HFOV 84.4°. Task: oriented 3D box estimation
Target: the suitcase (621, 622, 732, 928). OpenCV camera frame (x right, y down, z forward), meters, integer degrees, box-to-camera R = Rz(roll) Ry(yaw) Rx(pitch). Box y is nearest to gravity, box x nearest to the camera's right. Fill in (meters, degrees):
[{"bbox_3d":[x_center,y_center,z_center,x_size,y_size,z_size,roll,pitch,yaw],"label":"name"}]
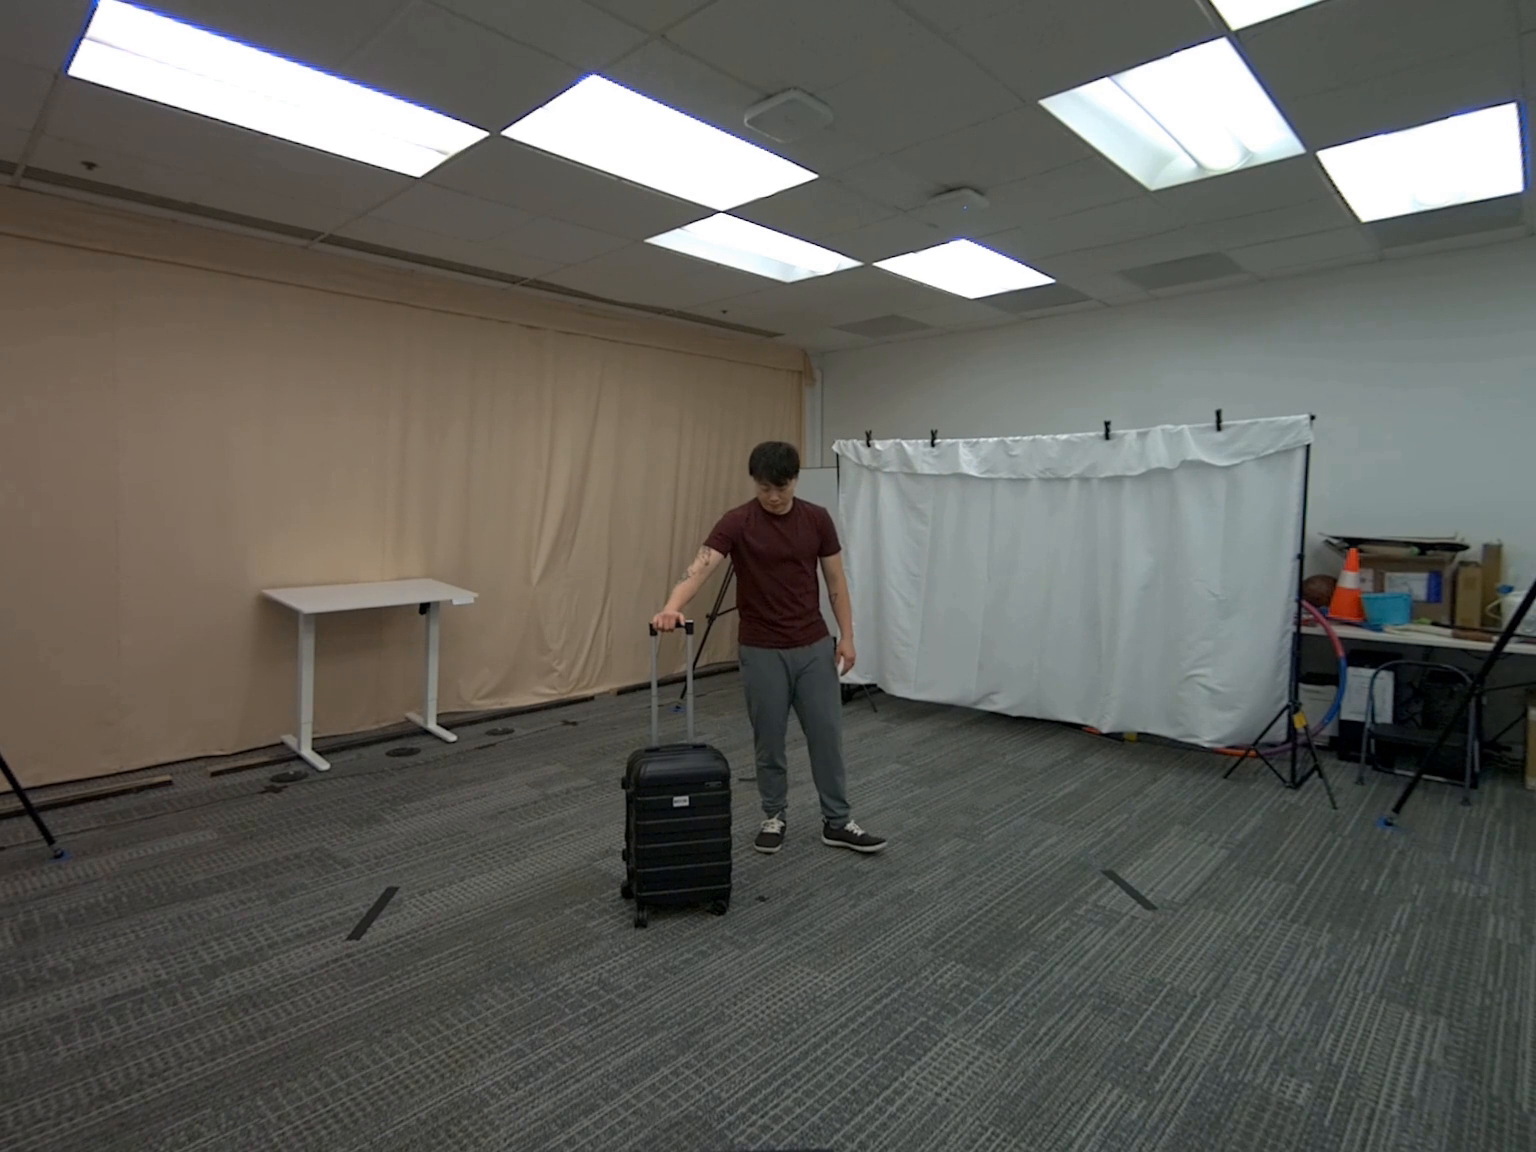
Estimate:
[{"bbox_3d":[-0.315,0.671,2.918,0.379,0.975,0.261,-2,5,-13],"label":"suitcase"}]
